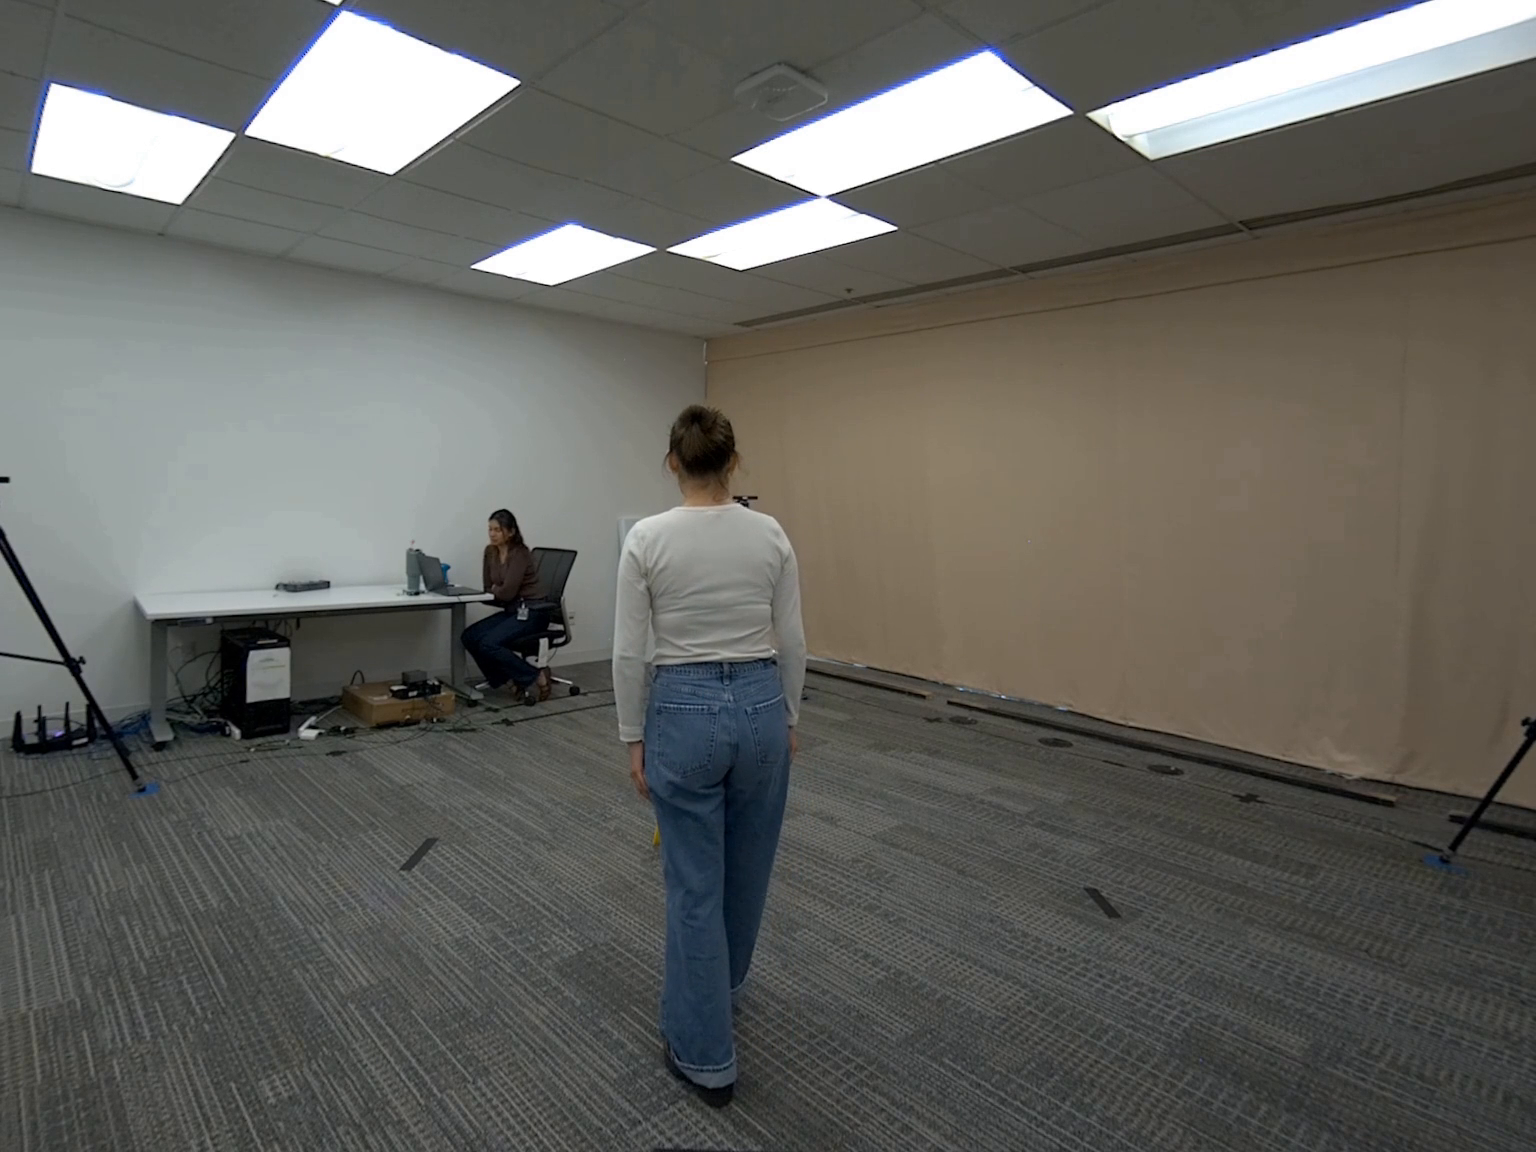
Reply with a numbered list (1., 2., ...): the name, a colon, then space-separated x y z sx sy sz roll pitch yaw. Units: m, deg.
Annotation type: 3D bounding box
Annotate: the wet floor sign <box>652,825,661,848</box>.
1. wet floor sign: -0.257 0.760 3.325 0.276 0.645 0.297 -1 3 -43
